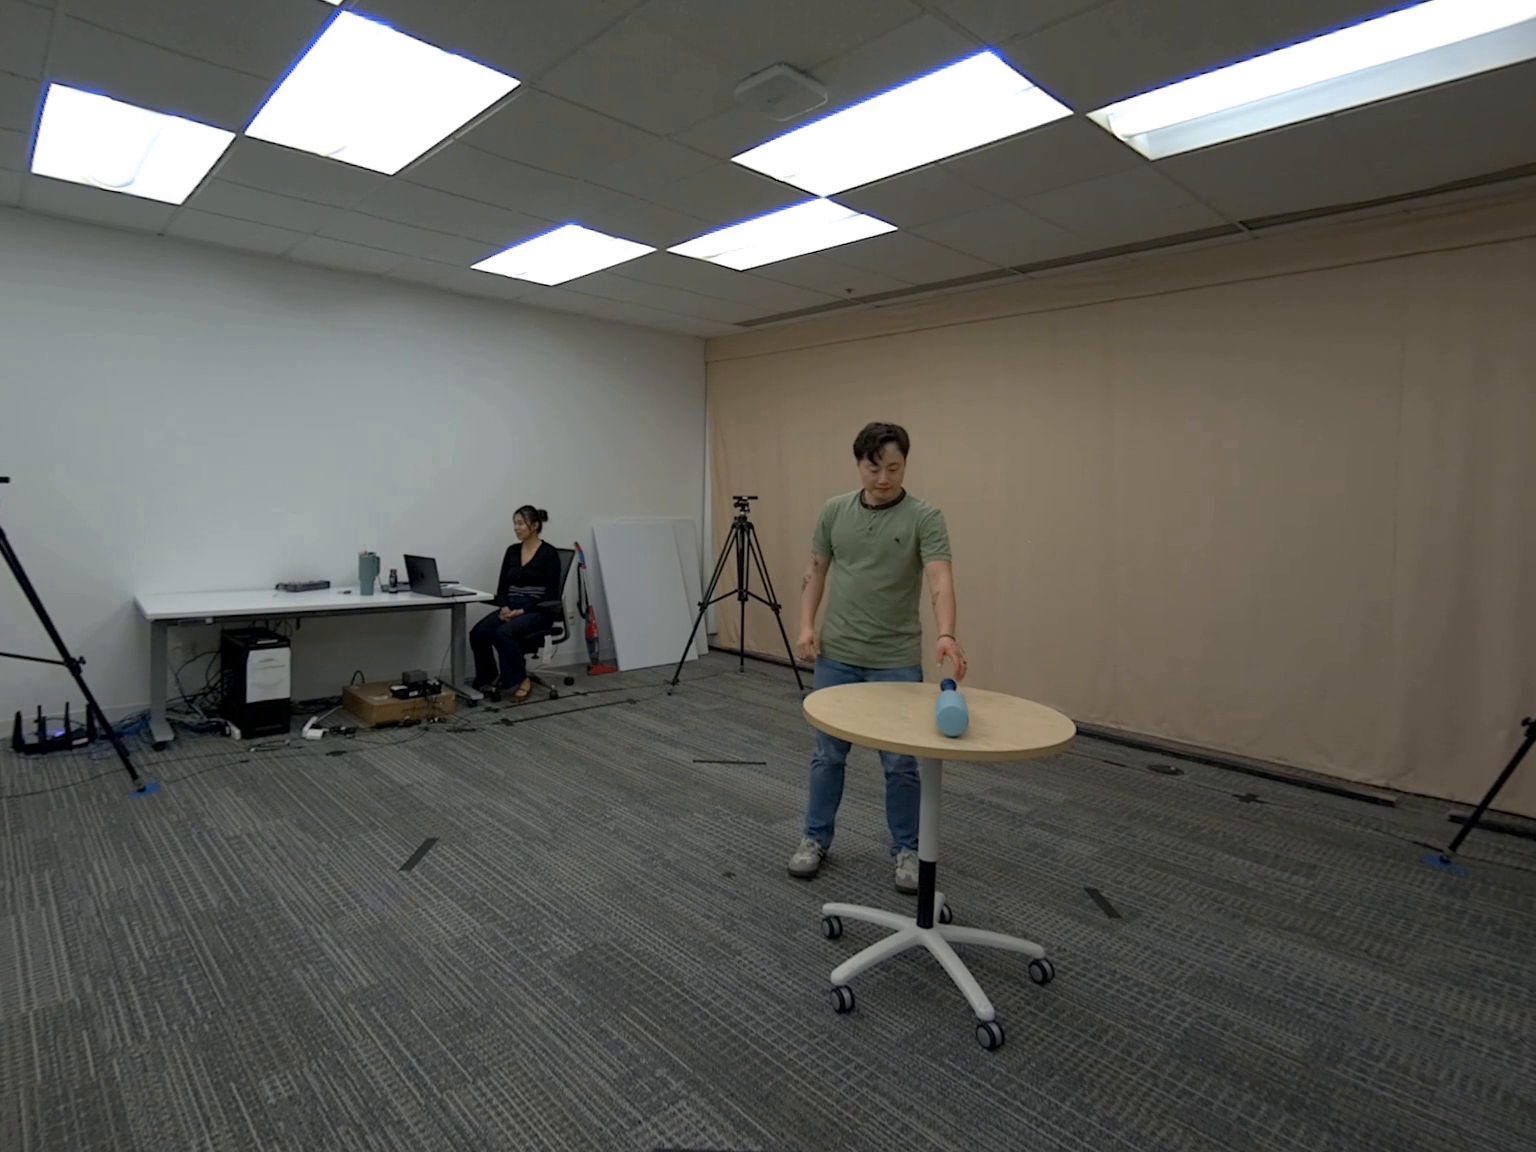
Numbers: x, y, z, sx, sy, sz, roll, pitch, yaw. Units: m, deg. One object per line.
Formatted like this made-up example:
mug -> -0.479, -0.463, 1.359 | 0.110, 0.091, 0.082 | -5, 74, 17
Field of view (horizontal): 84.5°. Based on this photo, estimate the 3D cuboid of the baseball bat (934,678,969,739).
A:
baseball bat -> 0.519, 0.363, 2.420 | 0.090, 0.089, 0.539 | 2, 4, 9
